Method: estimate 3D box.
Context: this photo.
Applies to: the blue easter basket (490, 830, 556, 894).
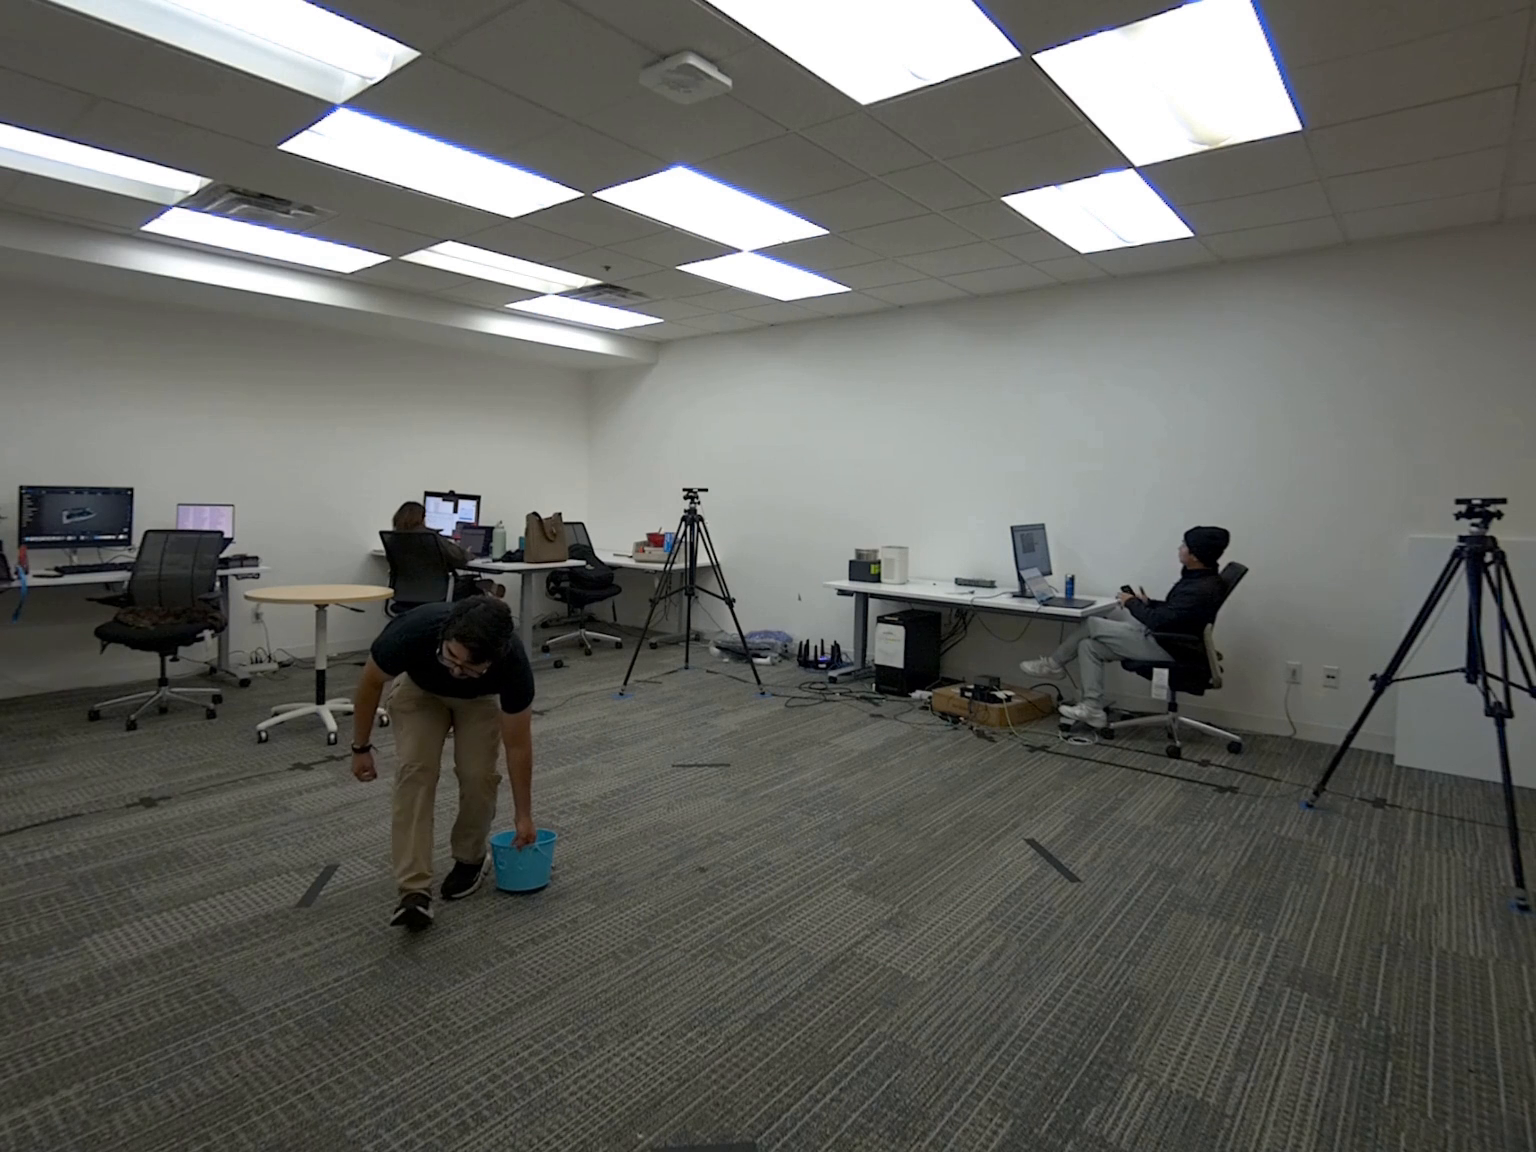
[{"bbox_3d":[-0.863,0.990,2.960,0.243,0.156,0.243,0,-2,-2],"label":"blue easter basket"}]
